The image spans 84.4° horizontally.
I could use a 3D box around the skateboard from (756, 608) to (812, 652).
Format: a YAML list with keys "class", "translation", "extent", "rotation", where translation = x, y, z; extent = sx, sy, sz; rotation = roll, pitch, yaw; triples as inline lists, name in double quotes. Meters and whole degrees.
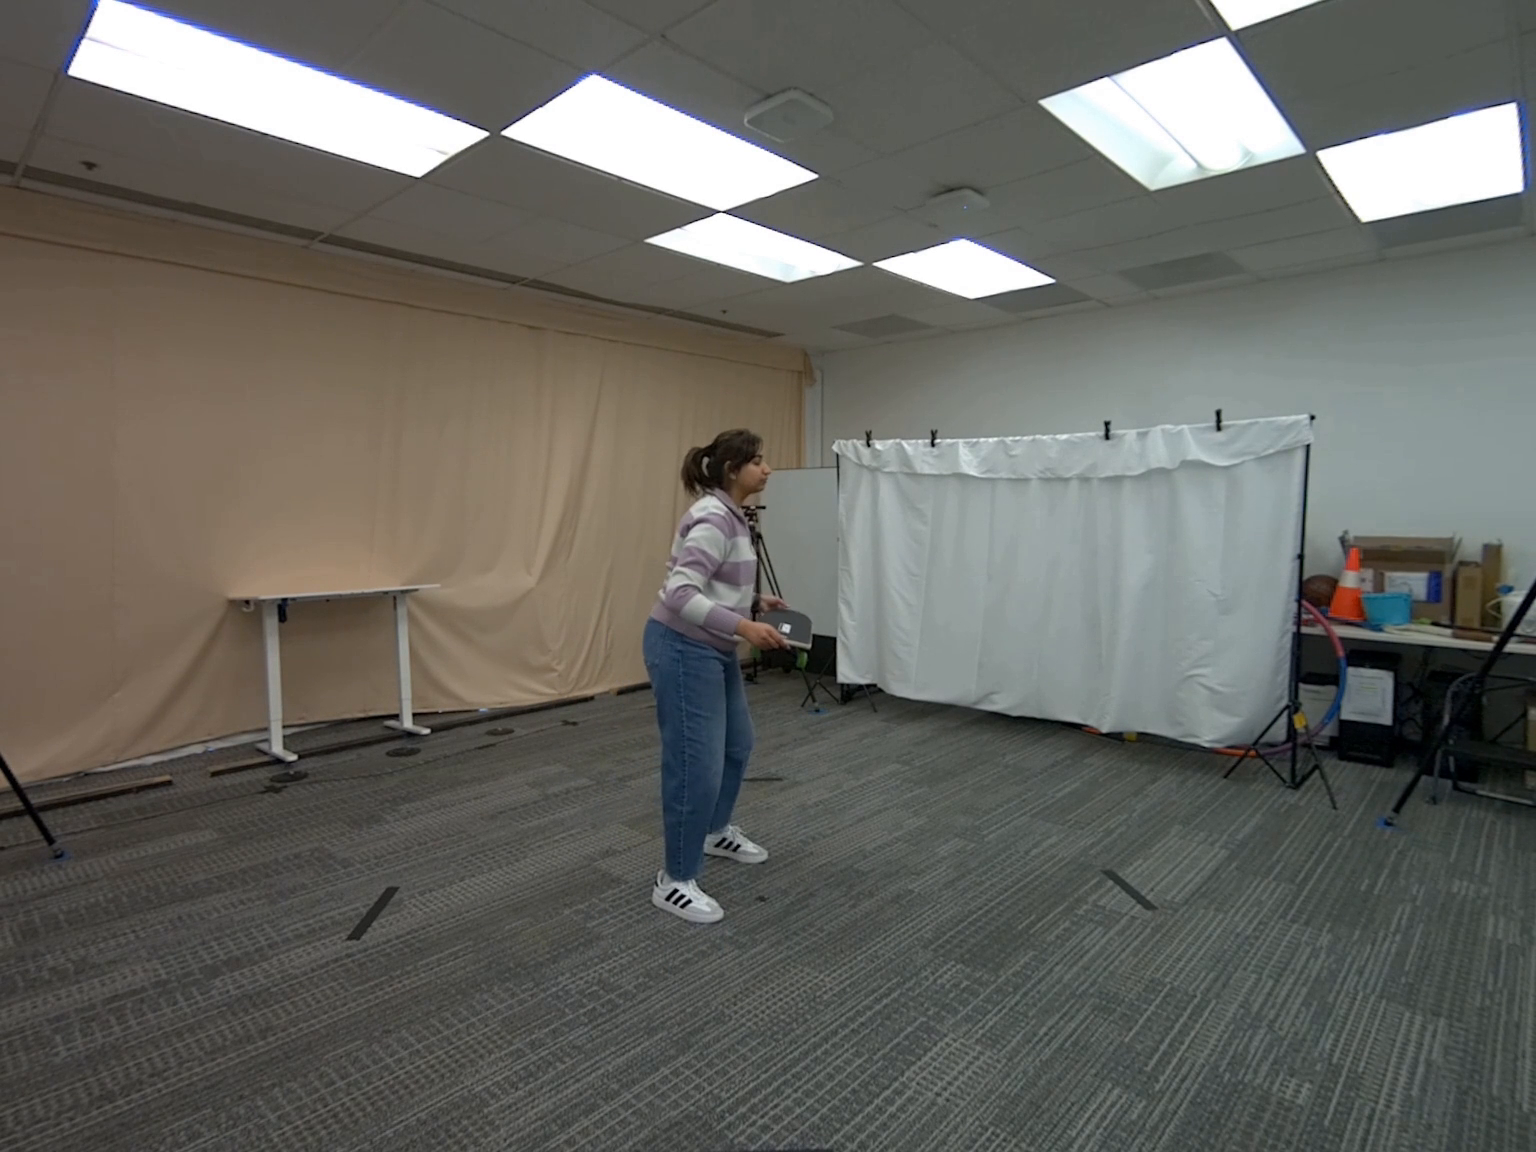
- class: "skateboard"
  translation: [0.057, 0.217, 2.985]
  extent: [0.194, 0.110, 0.783]
  rotation: [11, 6, 2]
